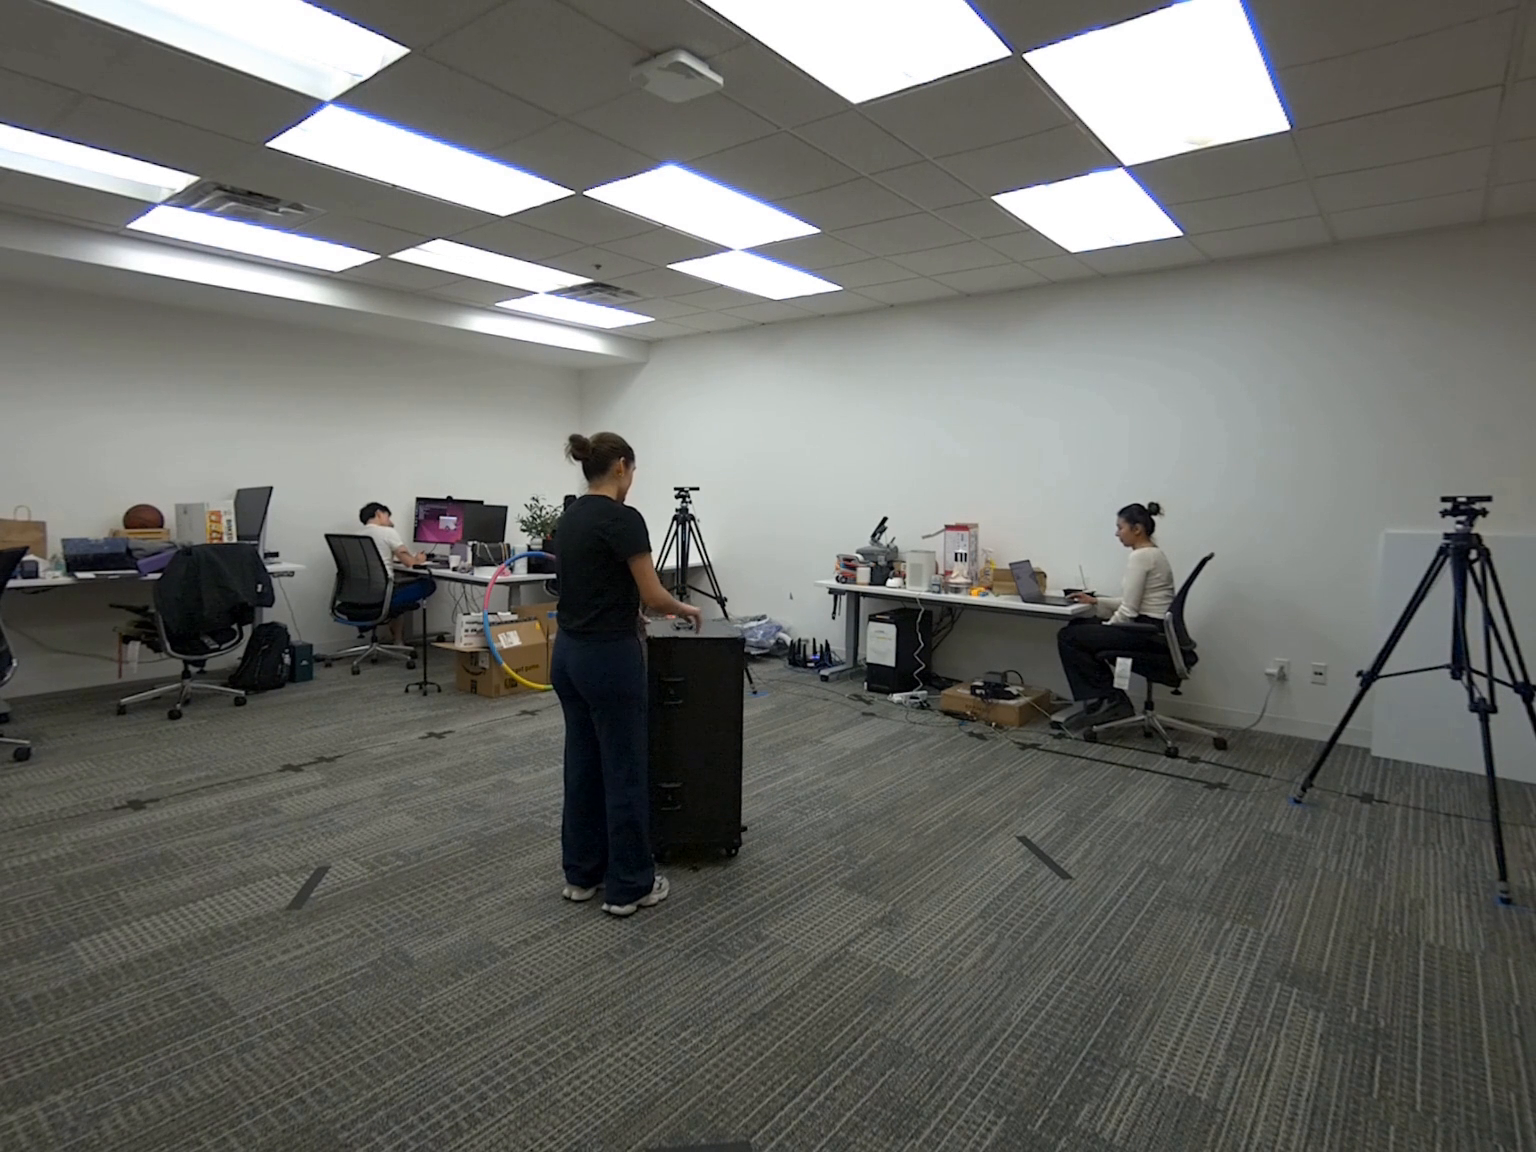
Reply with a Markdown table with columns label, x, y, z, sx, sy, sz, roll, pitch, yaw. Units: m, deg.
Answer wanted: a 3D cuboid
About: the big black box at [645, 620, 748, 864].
| label | x | y | z | sx | sy | sz | roll | pitch | yaw |
| --- | --- | --- | --- | --- | --- | --- | --- | --- | --- |
| big black box | -0.287 | 0.619 | 3.332 | 0.393 | 0.860 | 0.527 | 1 | 2 | -9 |
